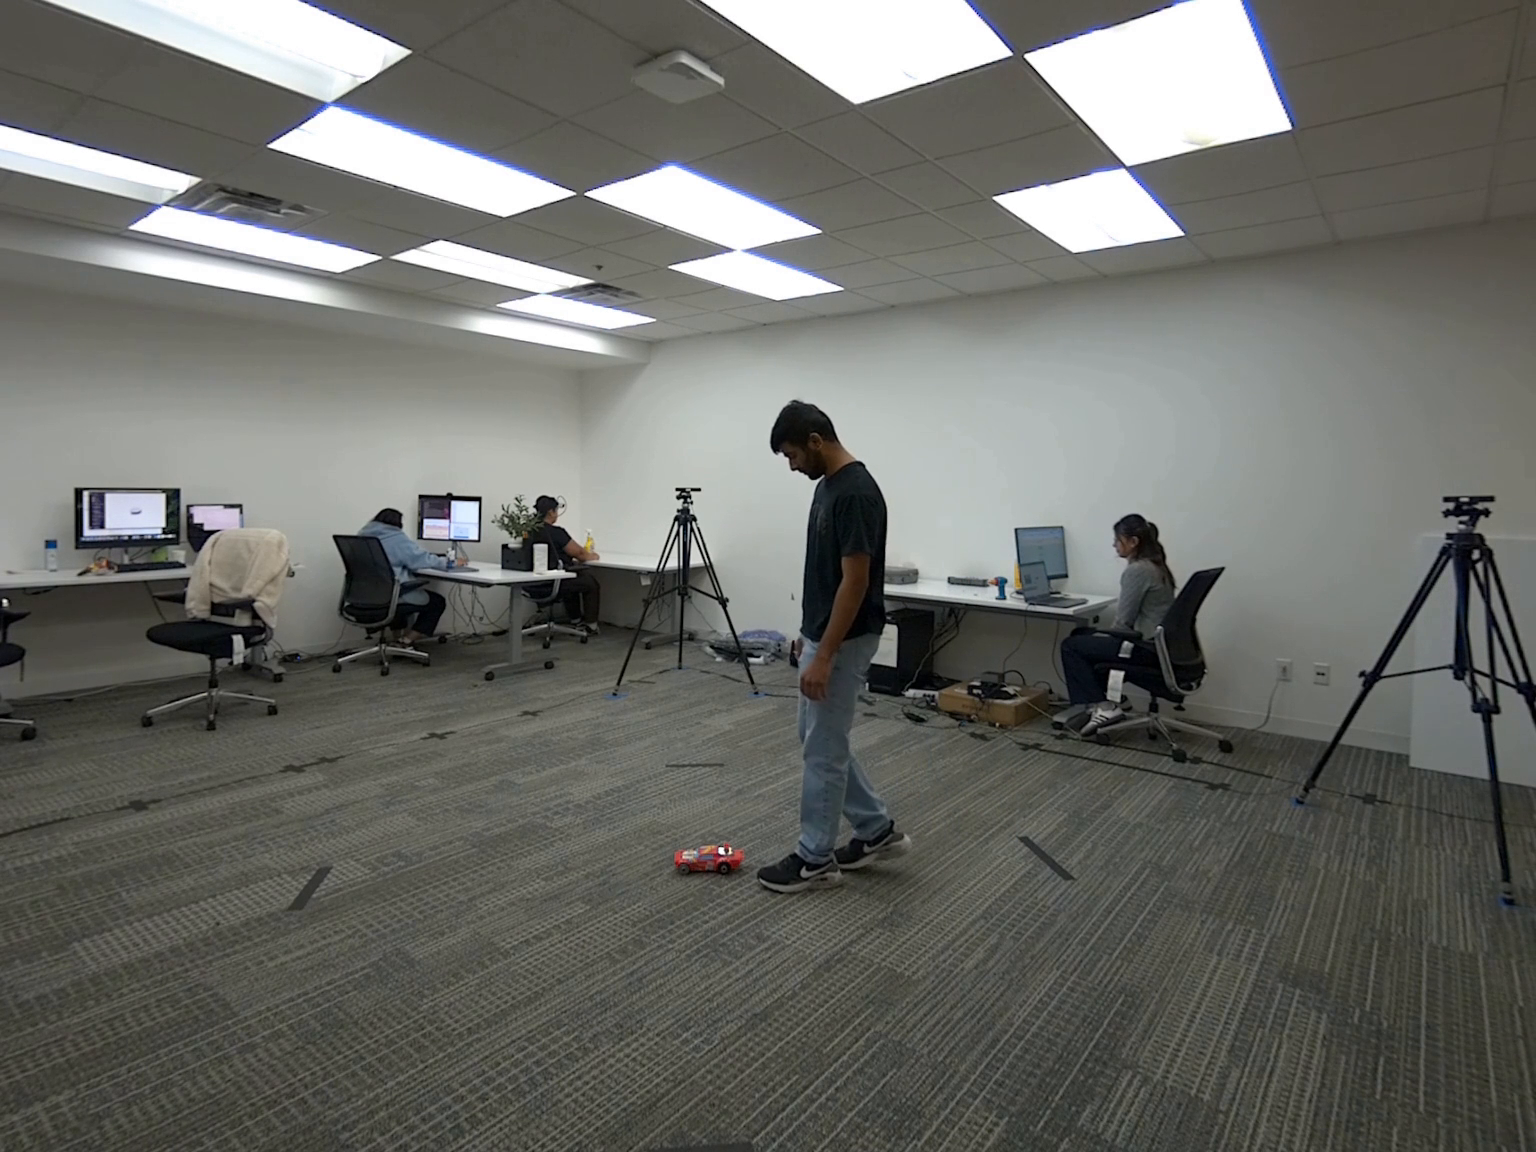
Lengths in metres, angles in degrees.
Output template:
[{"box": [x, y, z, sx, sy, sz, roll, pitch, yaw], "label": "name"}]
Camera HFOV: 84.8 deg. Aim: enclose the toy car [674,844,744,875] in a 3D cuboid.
[{"box": [-0.221, 1.037, 3.116, 0.254, 0.083, 0.131, -11, 5, -2], "label": "toy car"}]
